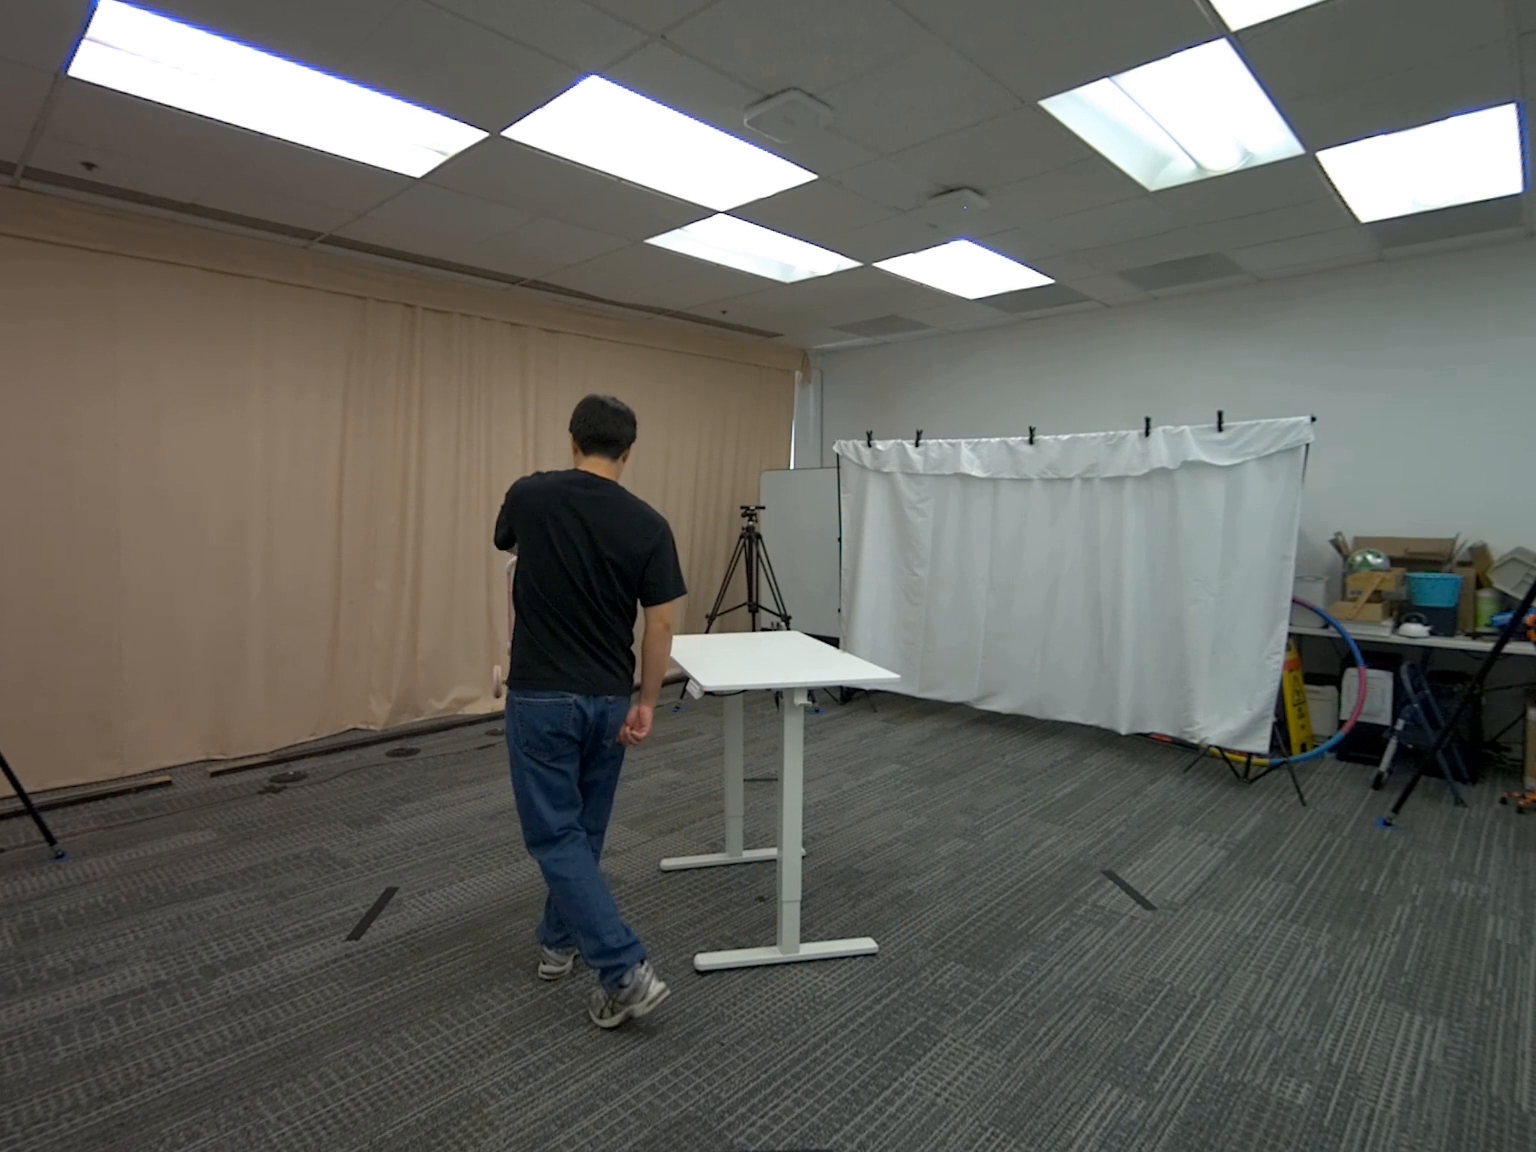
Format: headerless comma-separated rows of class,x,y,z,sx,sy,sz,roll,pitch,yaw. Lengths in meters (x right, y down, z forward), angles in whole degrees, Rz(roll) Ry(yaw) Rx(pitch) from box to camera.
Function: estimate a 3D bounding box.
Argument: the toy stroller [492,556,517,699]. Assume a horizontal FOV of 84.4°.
toy stroller,-0.806,0.232,2.978,0.280,0.542,0.339,-4,-18,-7
